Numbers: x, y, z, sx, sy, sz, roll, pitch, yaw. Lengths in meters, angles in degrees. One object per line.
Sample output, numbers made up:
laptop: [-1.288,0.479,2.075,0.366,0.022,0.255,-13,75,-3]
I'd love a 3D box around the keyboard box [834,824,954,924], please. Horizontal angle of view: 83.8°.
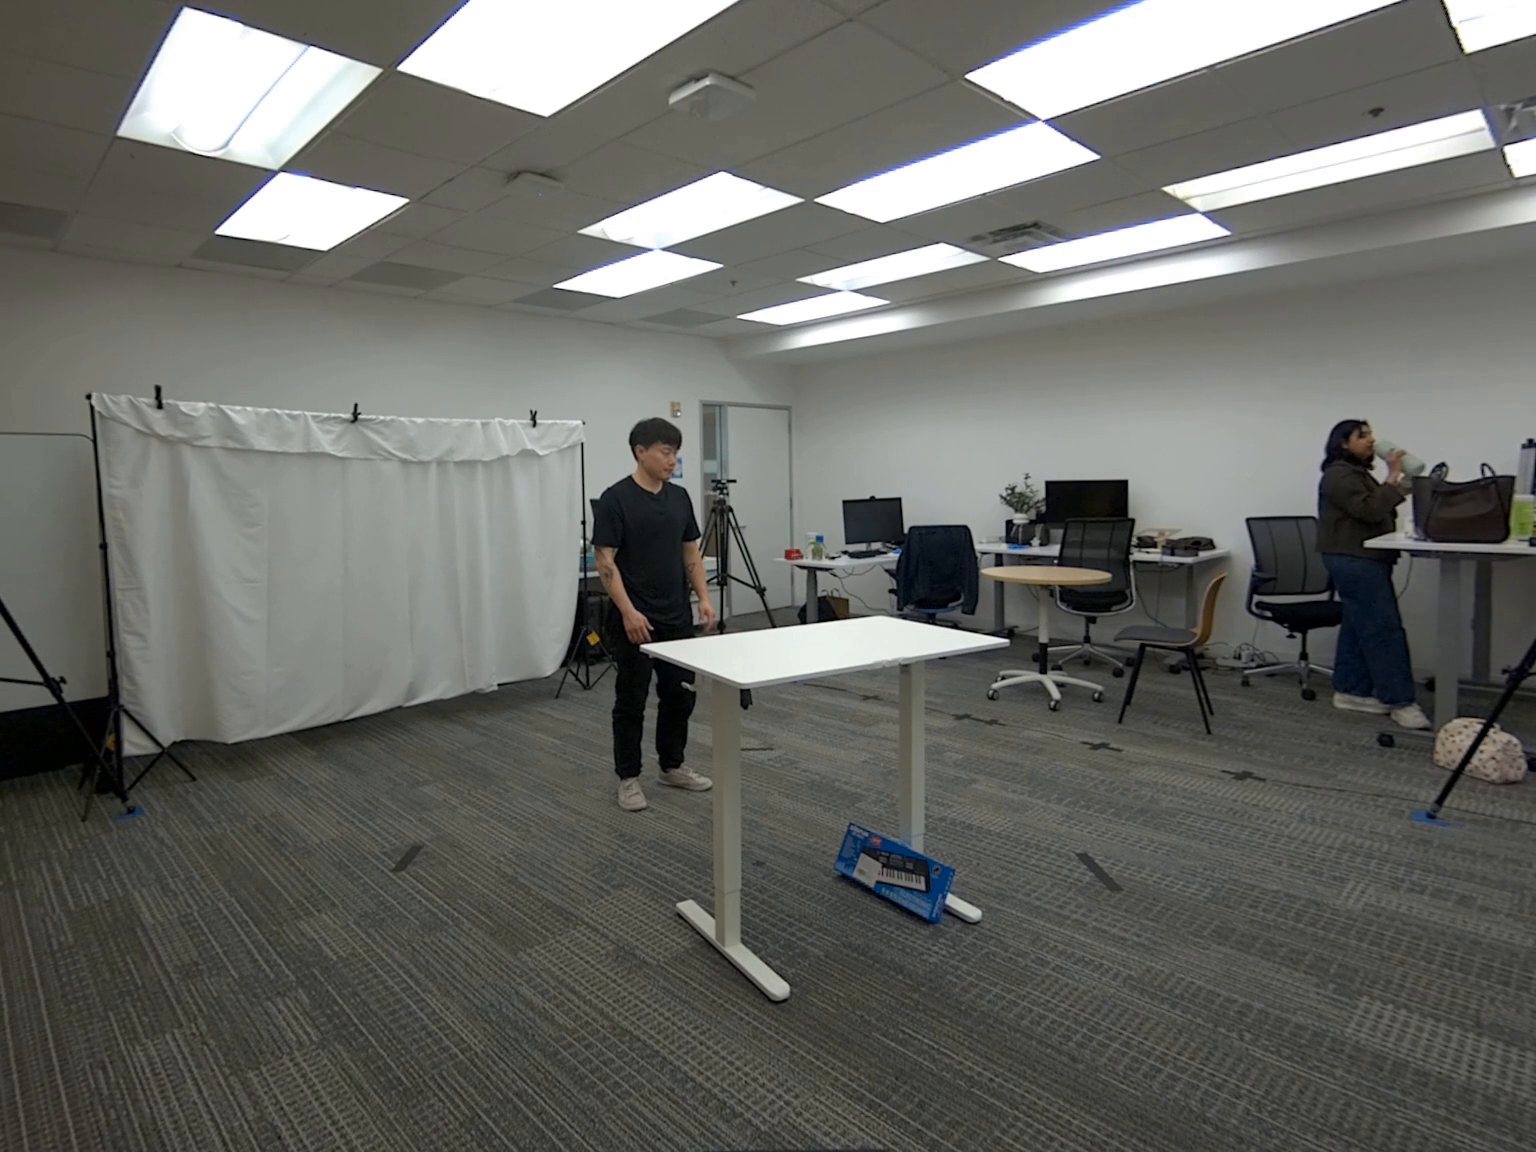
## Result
keyboard box: [0.417,0.985,2.849,0.057,0.177,0.450,29,-12,-34]
